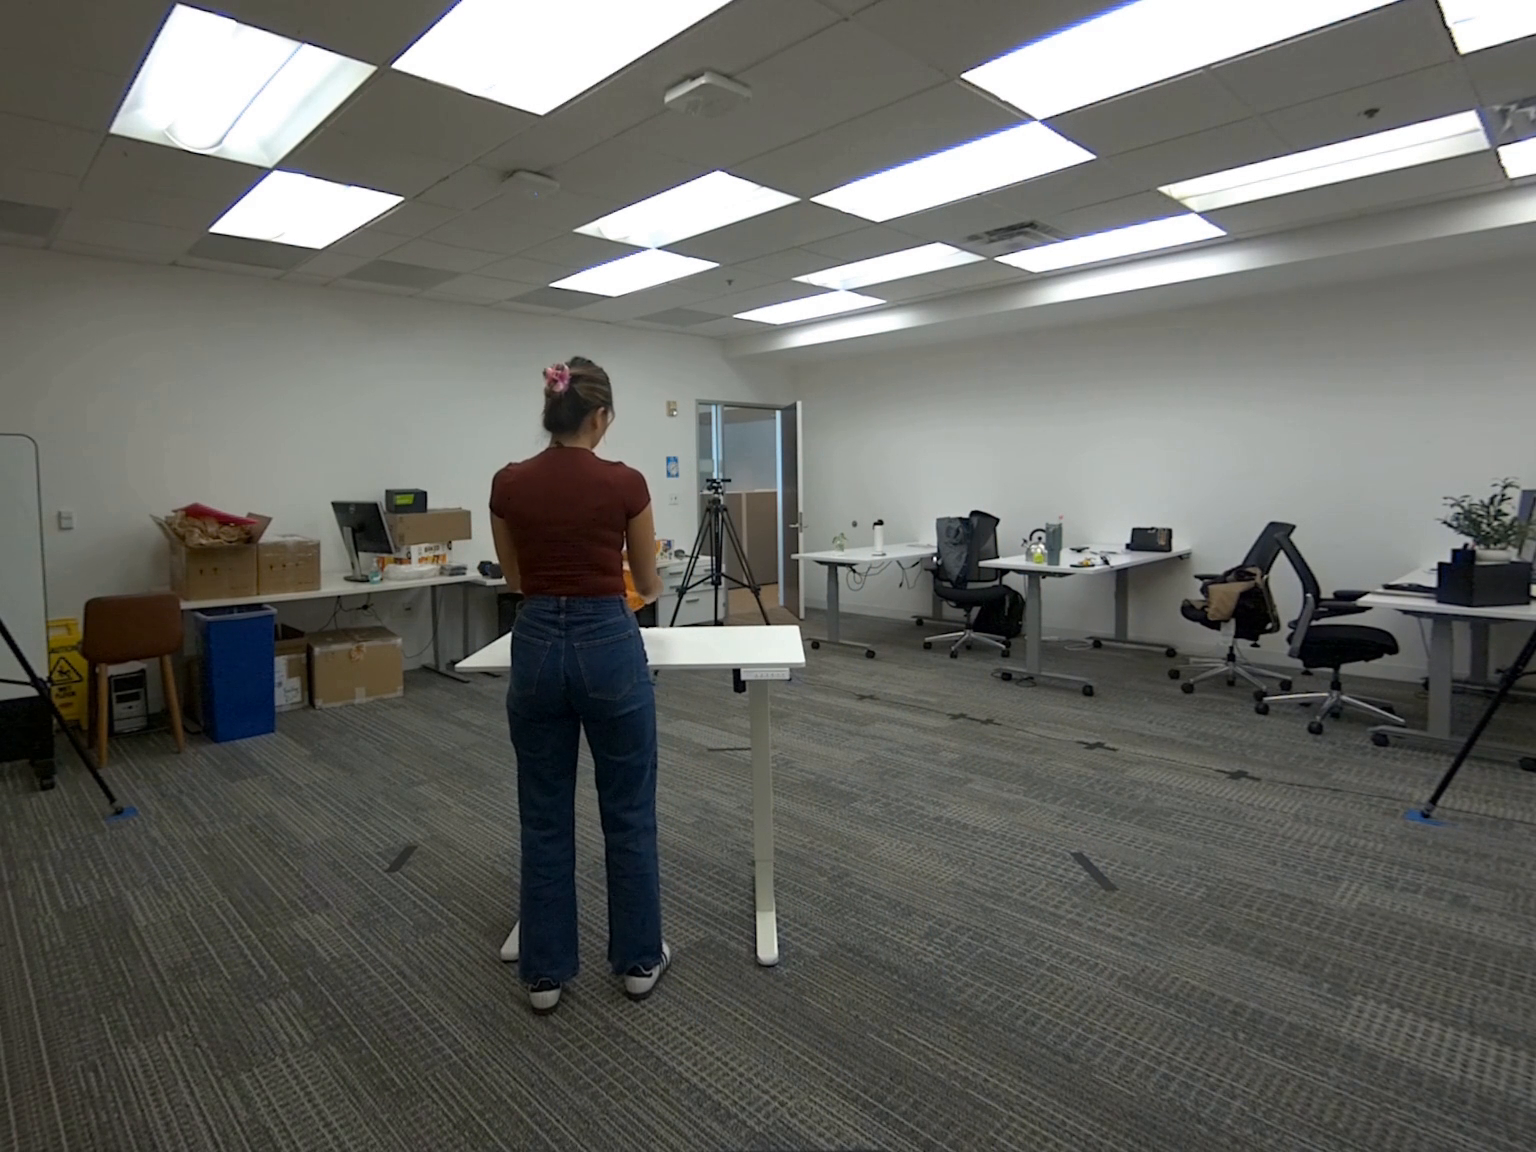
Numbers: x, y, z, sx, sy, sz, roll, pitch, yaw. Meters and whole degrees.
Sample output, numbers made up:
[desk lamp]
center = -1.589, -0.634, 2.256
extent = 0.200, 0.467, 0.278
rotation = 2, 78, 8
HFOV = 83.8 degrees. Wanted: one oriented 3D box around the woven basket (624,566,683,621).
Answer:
[woven basket]
center = -0.494, 0.045, 2.770
extent = 0.362, 0.072, 0.247
rotation = 15, 20, 36
